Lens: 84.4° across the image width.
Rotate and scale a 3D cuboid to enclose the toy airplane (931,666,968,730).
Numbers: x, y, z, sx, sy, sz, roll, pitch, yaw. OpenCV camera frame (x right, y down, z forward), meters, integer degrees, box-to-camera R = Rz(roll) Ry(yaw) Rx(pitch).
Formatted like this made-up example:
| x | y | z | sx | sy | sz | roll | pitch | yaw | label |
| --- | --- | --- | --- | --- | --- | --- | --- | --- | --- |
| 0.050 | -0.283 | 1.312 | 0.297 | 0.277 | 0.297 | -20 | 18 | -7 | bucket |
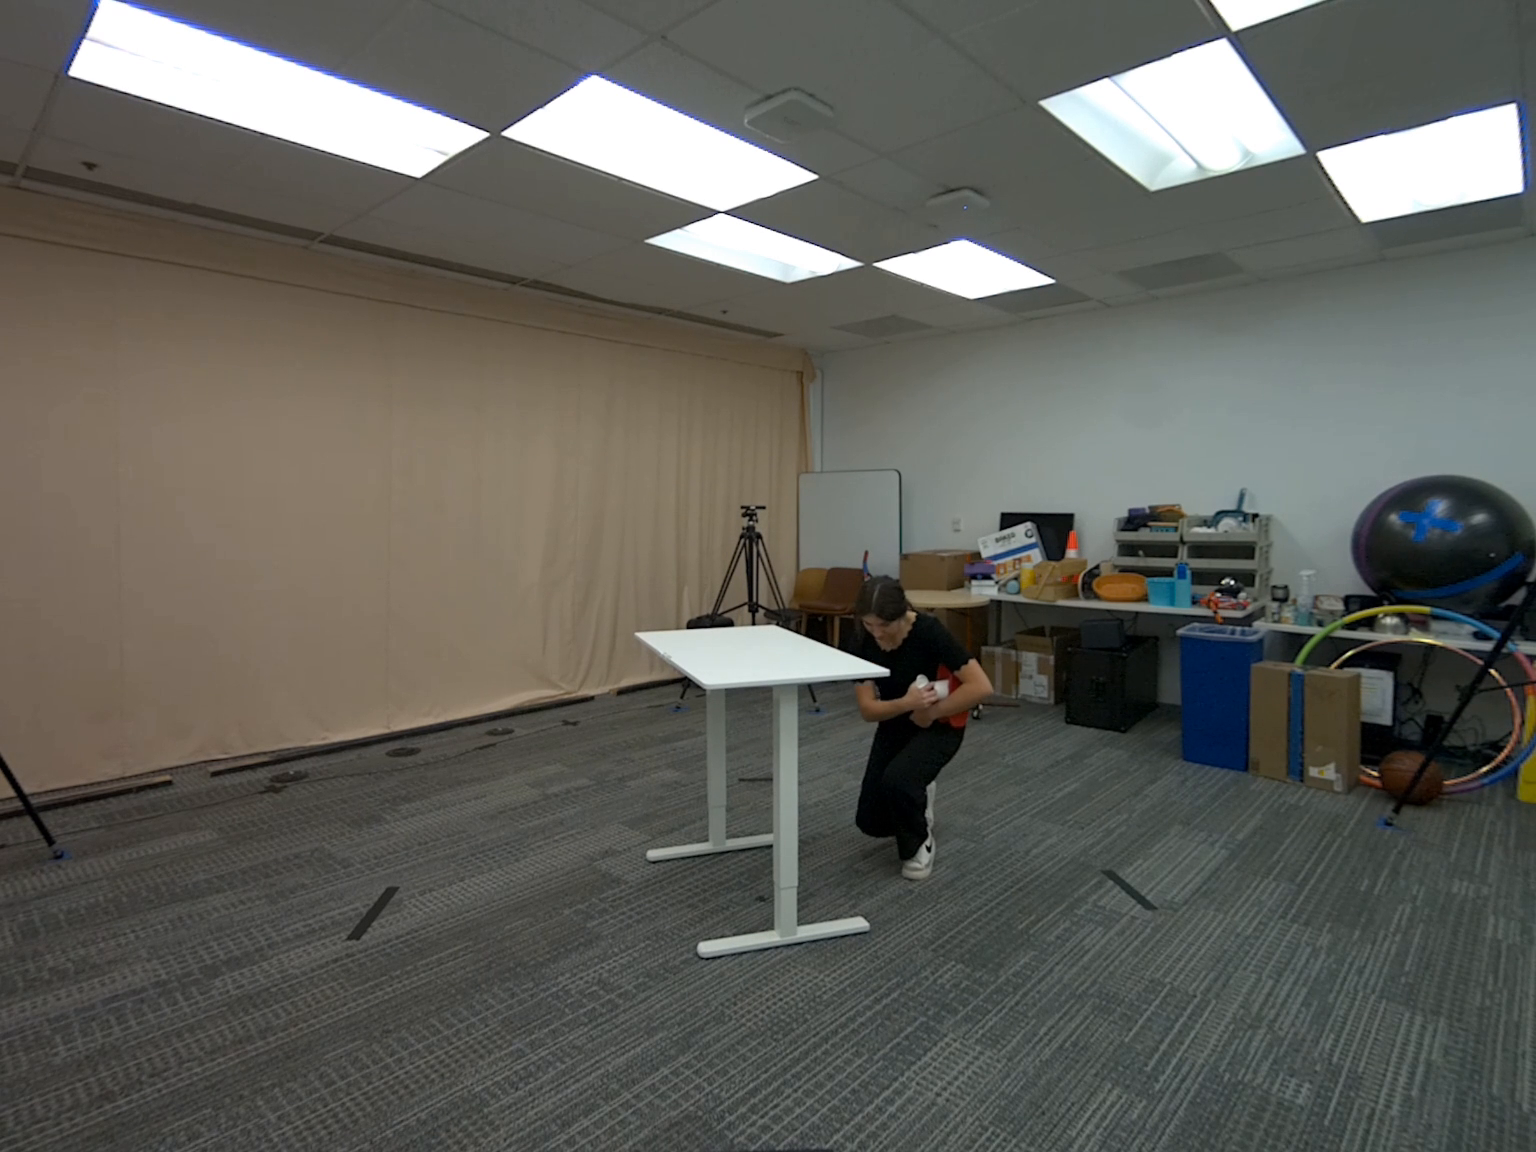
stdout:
| x | y | z | sx | sy | sz | roll | pitch | yaw | label |
| --- | --- | --- | --- | --- | --- | --- | --- | --- | --- |
| 0.683 | 0.408 | 3.173 | 0.257 | 0.251 | 0.158 | 33 | -11 | -7 | toy airplane |
